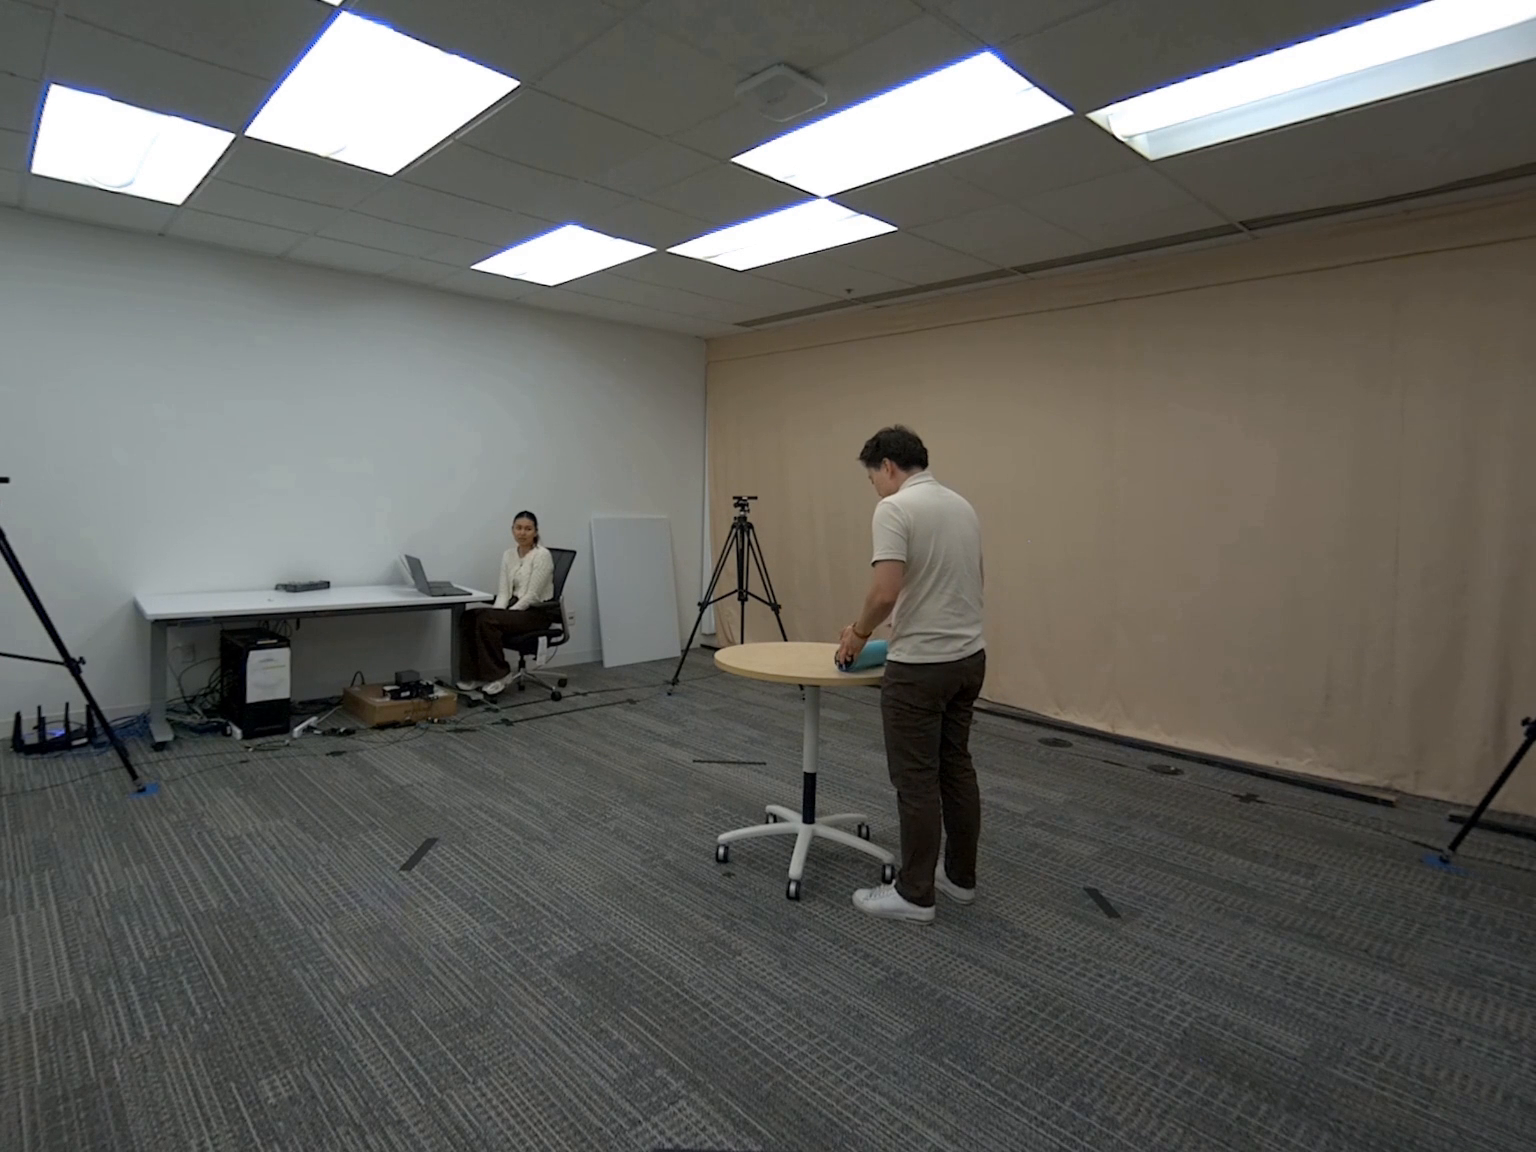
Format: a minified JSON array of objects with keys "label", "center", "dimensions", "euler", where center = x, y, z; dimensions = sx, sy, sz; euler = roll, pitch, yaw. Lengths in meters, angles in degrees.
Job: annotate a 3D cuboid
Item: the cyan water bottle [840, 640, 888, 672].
[{"label":"cyan water bottle","center":[0.338,0.288,3.049],"dimensions":[0.094,0.092,0.277],"euler":[5,6,40]}]
